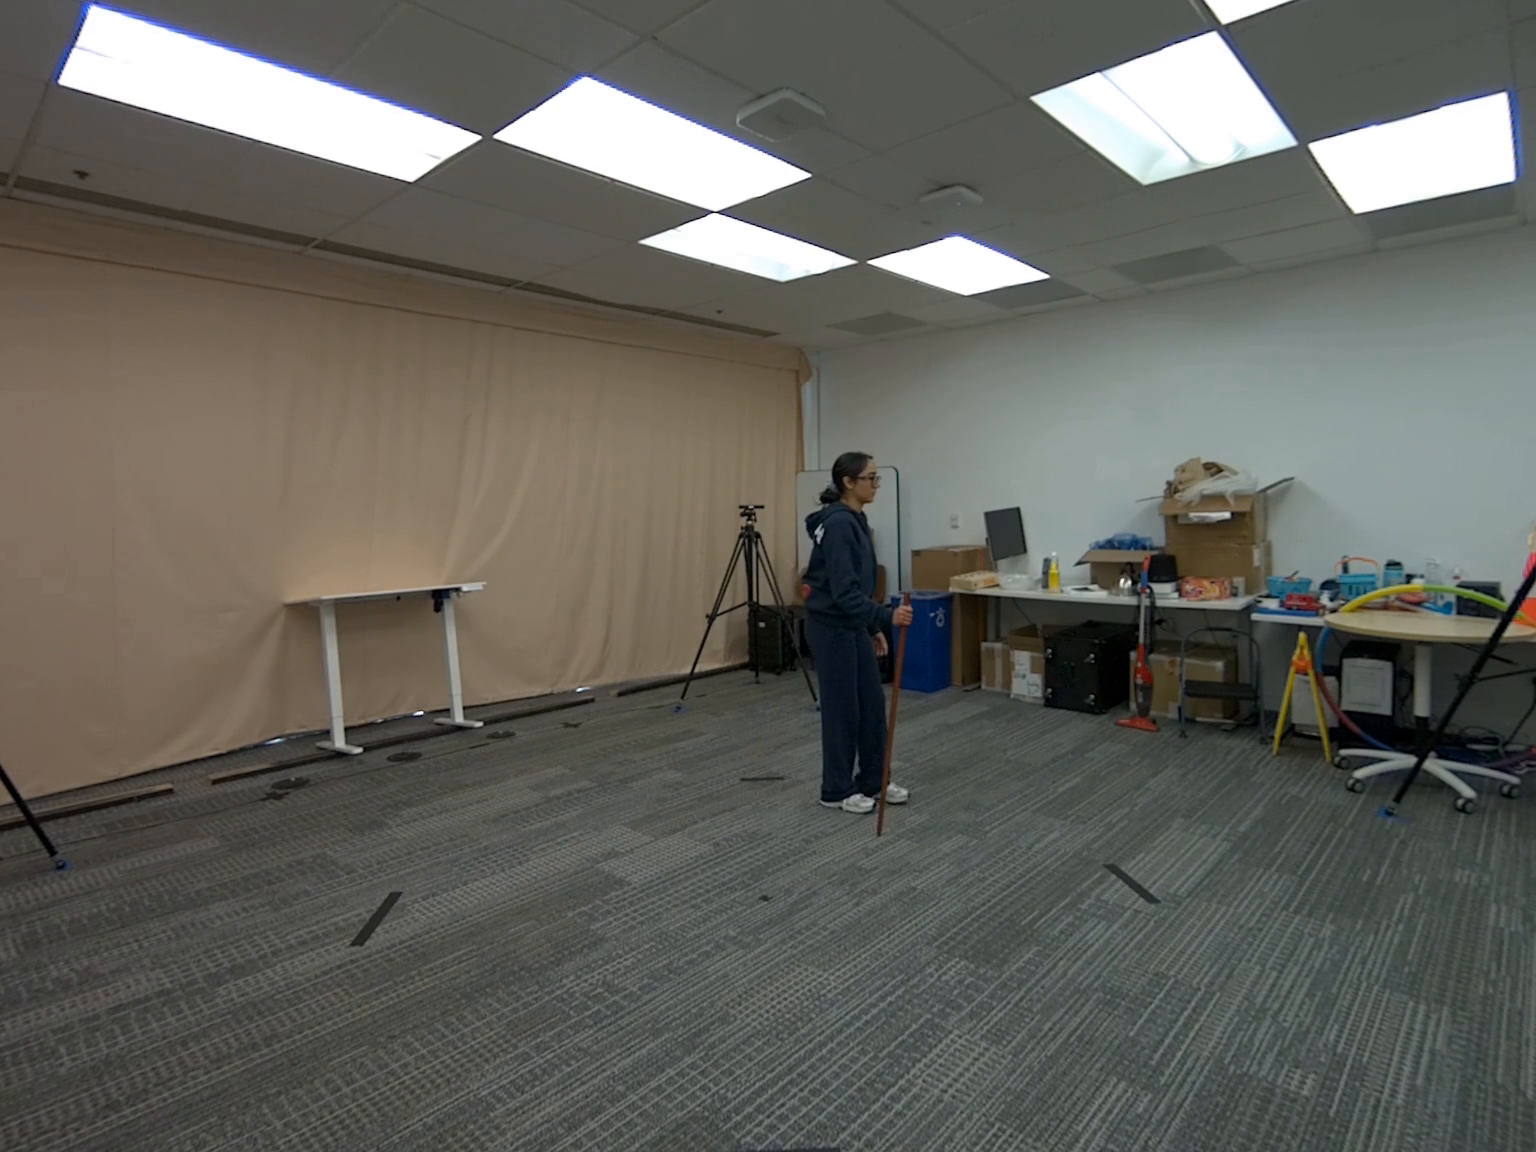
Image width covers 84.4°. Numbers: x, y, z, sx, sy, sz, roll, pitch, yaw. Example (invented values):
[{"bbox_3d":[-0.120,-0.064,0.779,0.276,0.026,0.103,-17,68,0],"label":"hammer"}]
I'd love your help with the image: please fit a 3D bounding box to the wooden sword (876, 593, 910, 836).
[{"bbox_3d":[0.512,0.593,3.517,0.025,1.023,0.050,6,3,22],"label":"wooden sword"}]
